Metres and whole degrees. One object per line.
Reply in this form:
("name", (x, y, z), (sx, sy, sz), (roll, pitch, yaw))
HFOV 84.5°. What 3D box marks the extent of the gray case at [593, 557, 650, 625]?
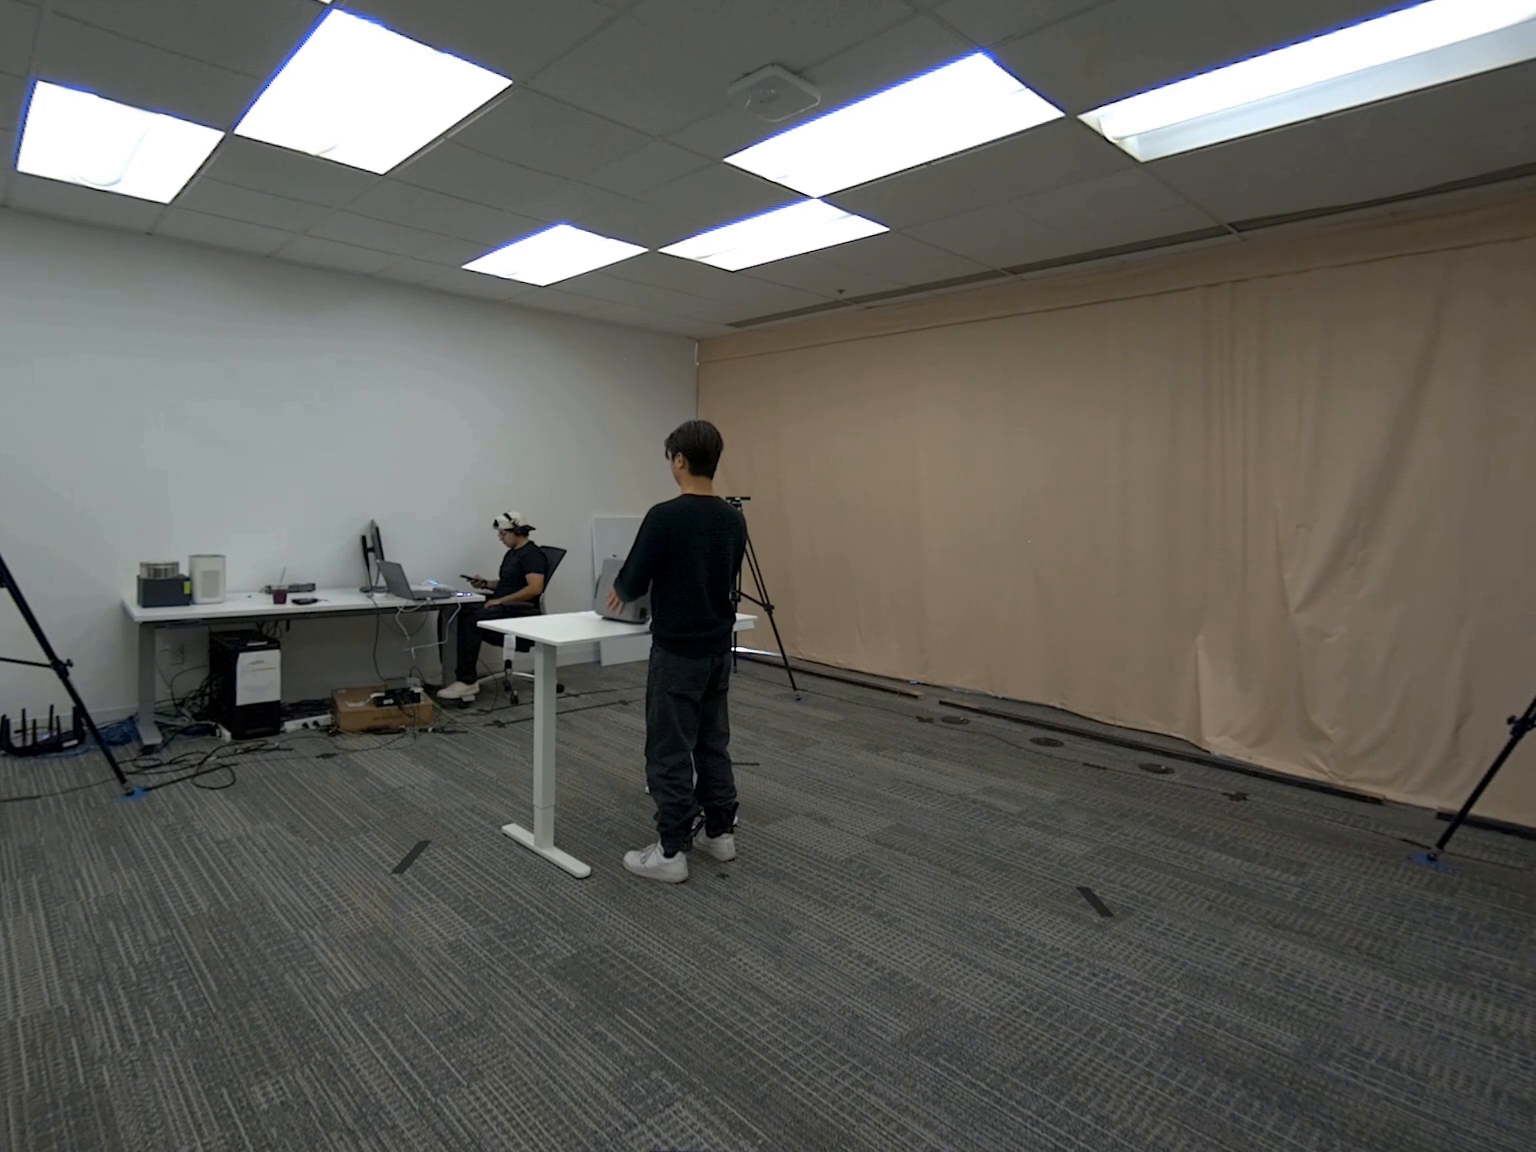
("gray case", (-0.595, 0.055, 3.436), (0.267, 0.257, 0.101), (5, -4, 38))
